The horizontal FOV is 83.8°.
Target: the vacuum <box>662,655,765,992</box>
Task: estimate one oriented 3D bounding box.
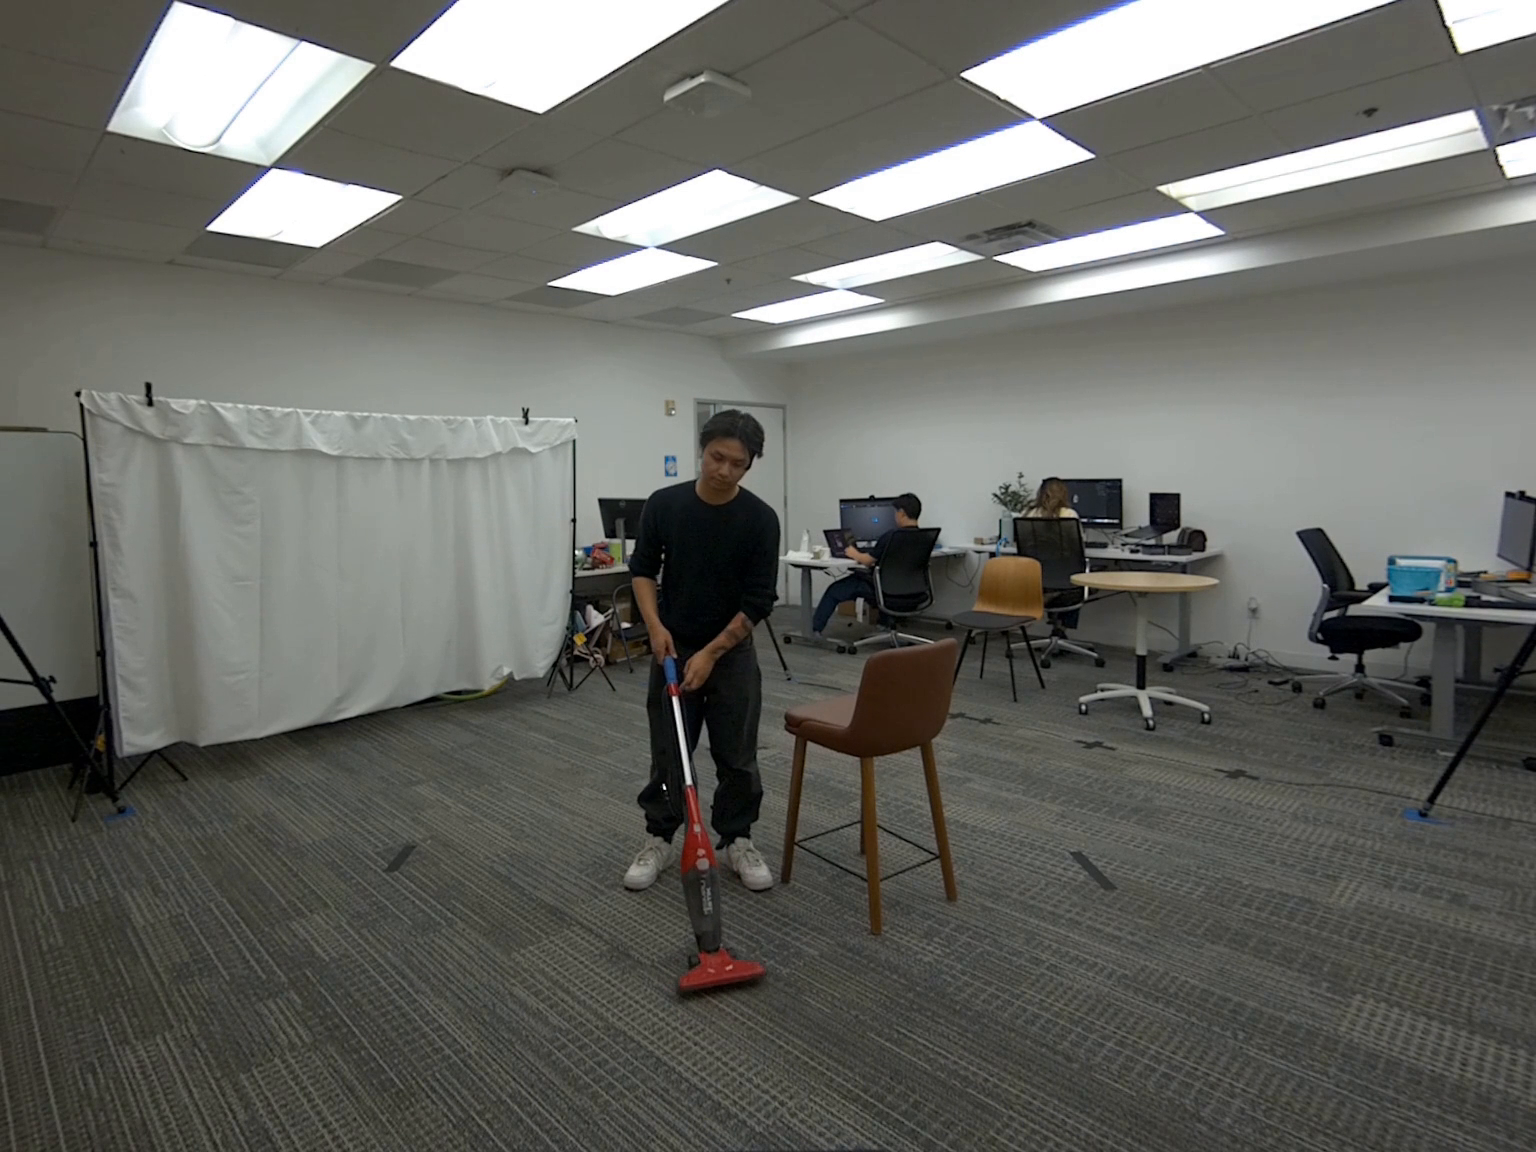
[{"bbox_3d":[-0.252,0.676,2.662,0.249,1.081,0.142,-4,-33,-17],"label":"vacuum"}]
